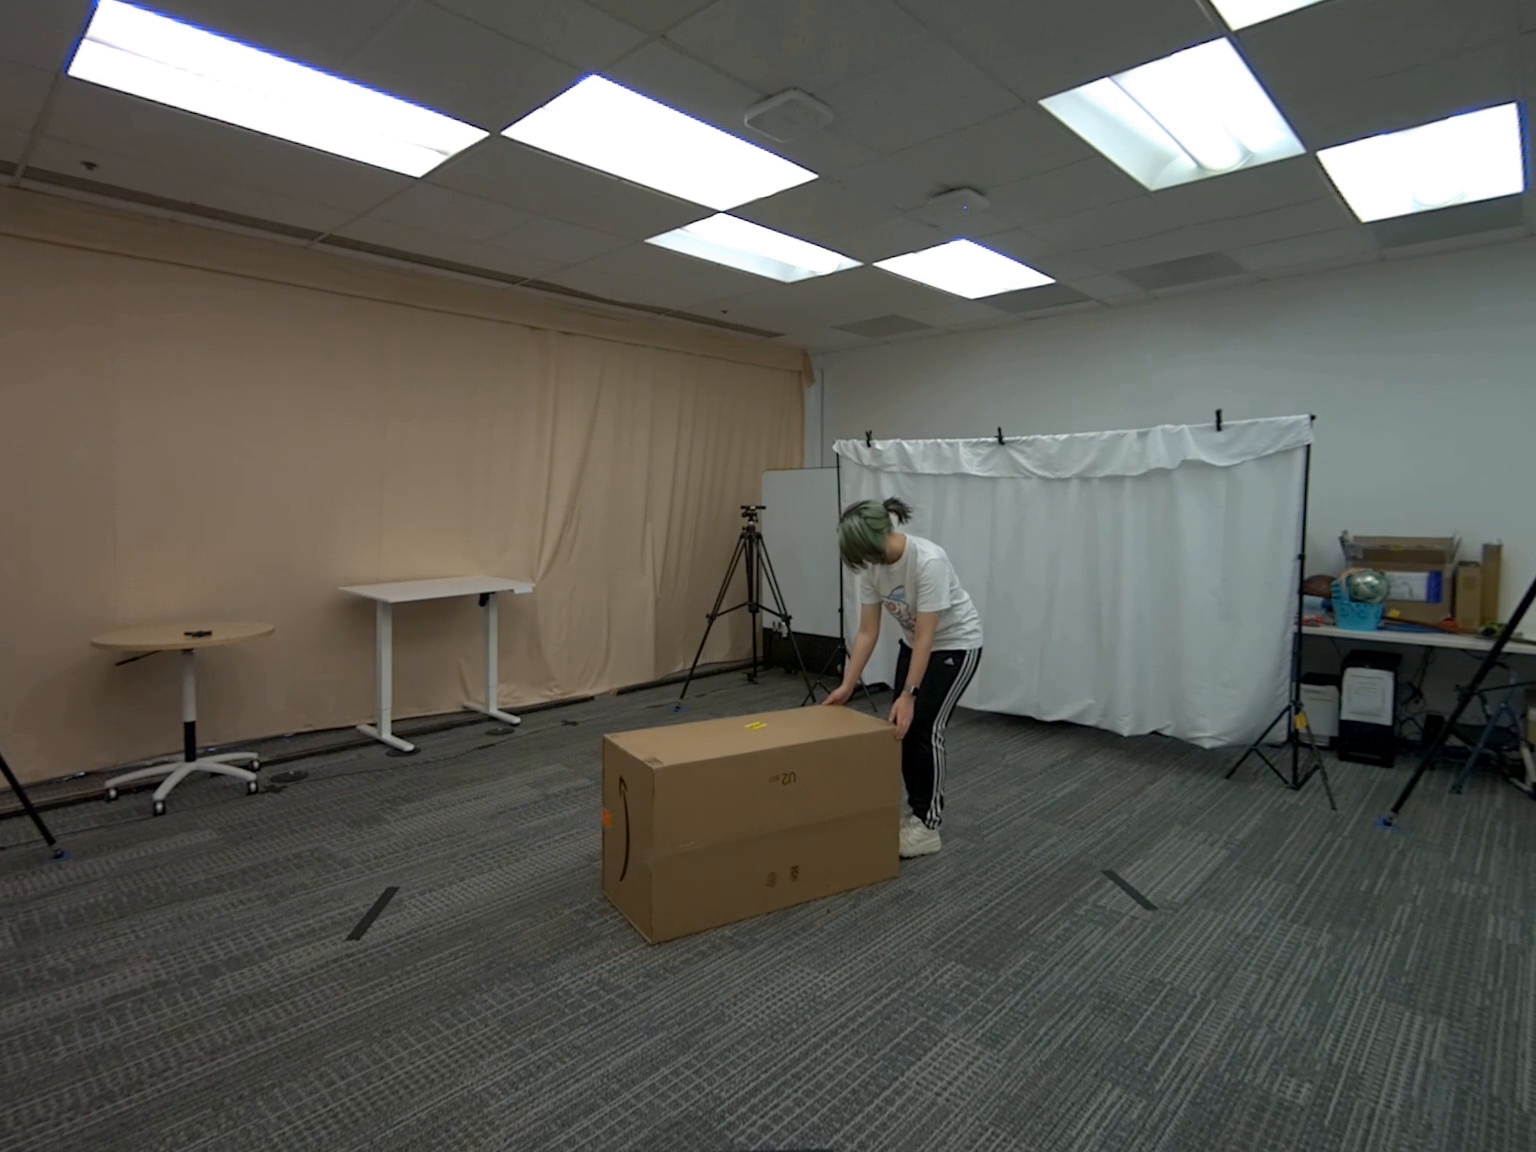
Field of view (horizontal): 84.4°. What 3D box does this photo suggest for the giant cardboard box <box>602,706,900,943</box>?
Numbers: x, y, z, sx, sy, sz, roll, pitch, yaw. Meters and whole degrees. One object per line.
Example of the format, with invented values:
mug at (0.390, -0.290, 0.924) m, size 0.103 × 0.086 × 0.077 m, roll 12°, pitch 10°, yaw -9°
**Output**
giant cardboard box at (-0.051, 0.849, 3.073) m, size 0.999 × 0.583 × 0.460 m, roll -2°, pitch 3°, yaw -30°
